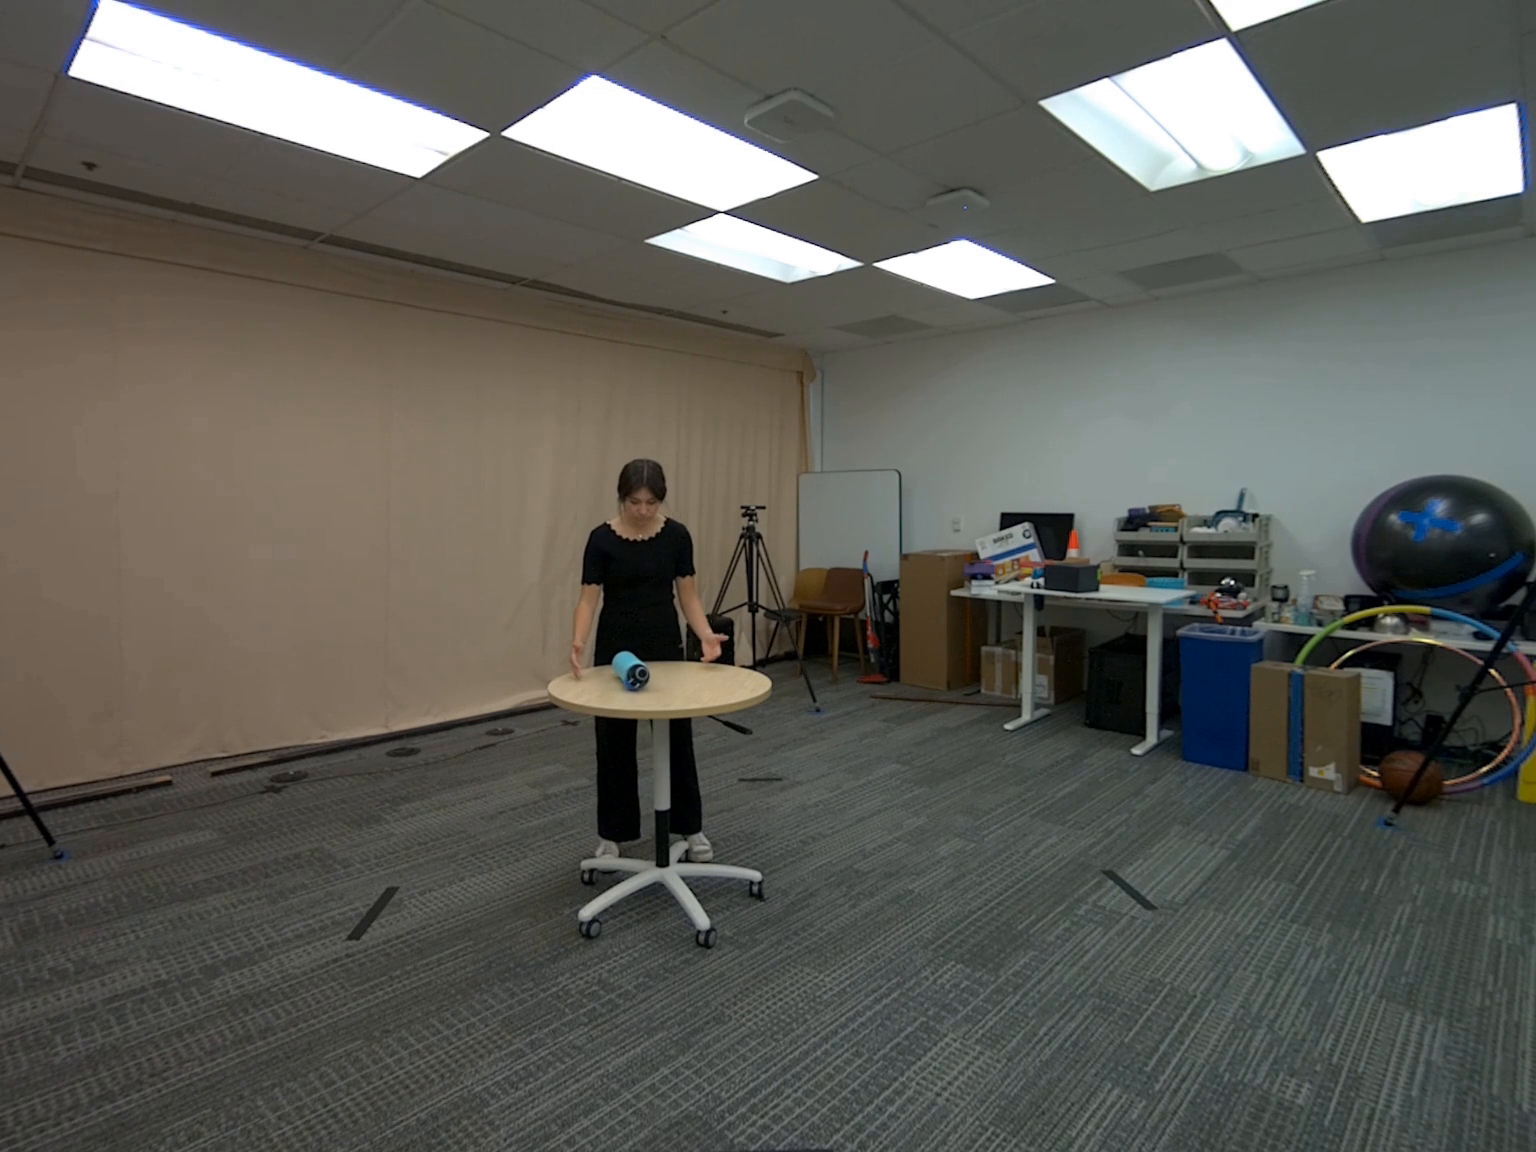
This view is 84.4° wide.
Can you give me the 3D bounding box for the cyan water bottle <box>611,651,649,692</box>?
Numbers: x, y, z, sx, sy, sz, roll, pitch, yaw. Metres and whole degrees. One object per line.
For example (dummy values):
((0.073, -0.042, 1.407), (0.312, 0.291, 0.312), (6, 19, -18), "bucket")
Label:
((-0.462, 0.324, 2.880), (0.090, 0.092, 0.289), (-1, 4, -19), "cyan water bottle")
